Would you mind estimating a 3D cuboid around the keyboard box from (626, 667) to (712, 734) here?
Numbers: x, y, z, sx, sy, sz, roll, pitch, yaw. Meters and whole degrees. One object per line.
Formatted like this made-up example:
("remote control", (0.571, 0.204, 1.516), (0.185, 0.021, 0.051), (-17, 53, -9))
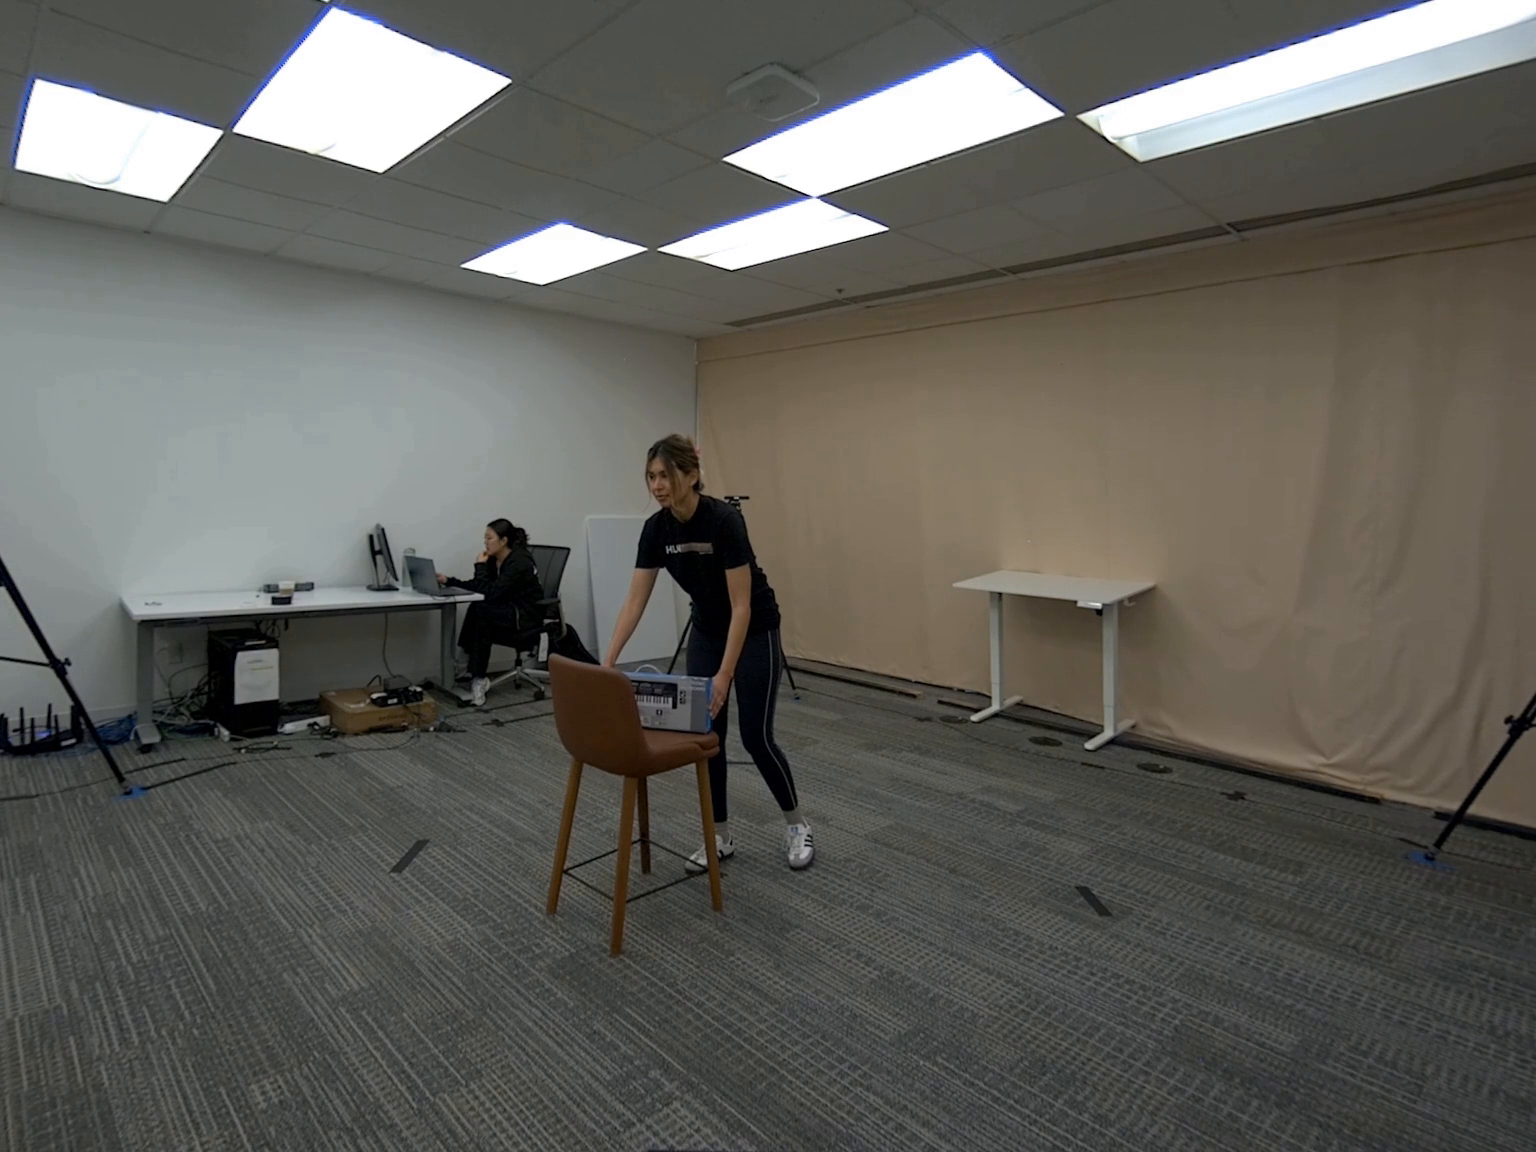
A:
("keyboard box", (-0.412, 0.414, 2.833), (0.443, 0.176, 0.058), (3, 1, 17))
